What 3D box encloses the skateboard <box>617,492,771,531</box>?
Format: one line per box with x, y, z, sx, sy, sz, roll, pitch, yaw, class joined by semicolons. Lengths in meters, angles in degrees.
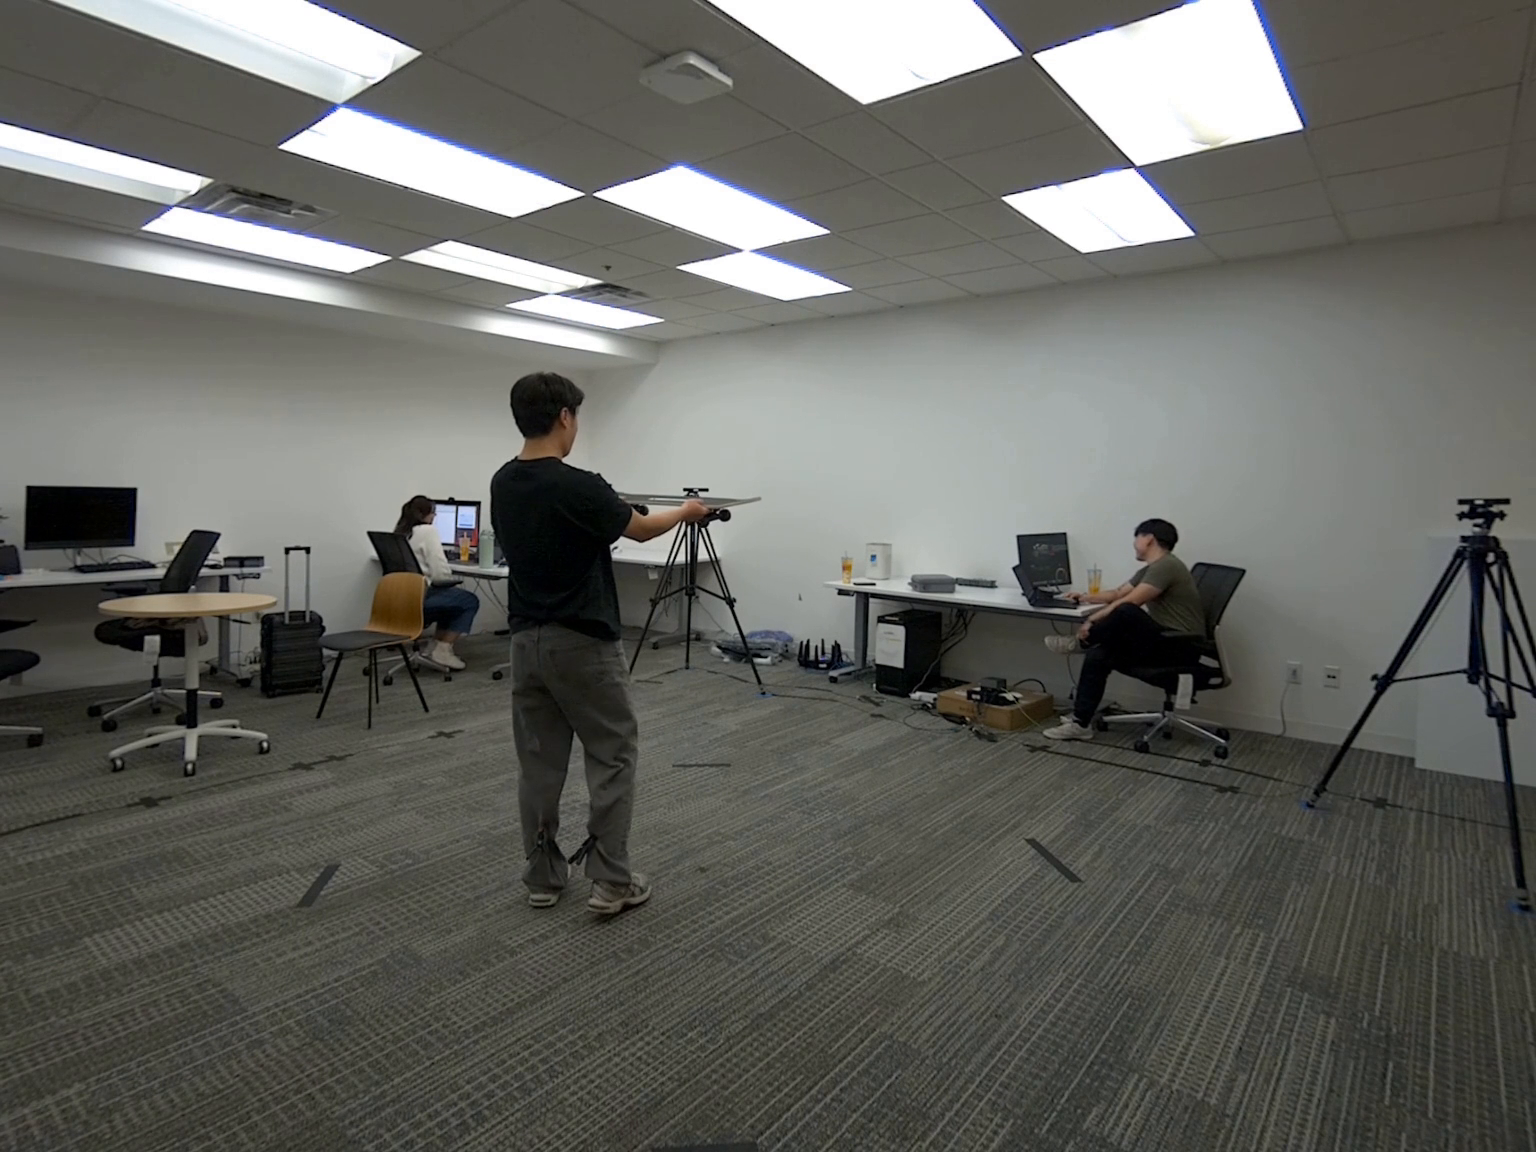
-0.383;-0.262;3.301;0.809;0.109;0.189;5;10;31;skateboard
